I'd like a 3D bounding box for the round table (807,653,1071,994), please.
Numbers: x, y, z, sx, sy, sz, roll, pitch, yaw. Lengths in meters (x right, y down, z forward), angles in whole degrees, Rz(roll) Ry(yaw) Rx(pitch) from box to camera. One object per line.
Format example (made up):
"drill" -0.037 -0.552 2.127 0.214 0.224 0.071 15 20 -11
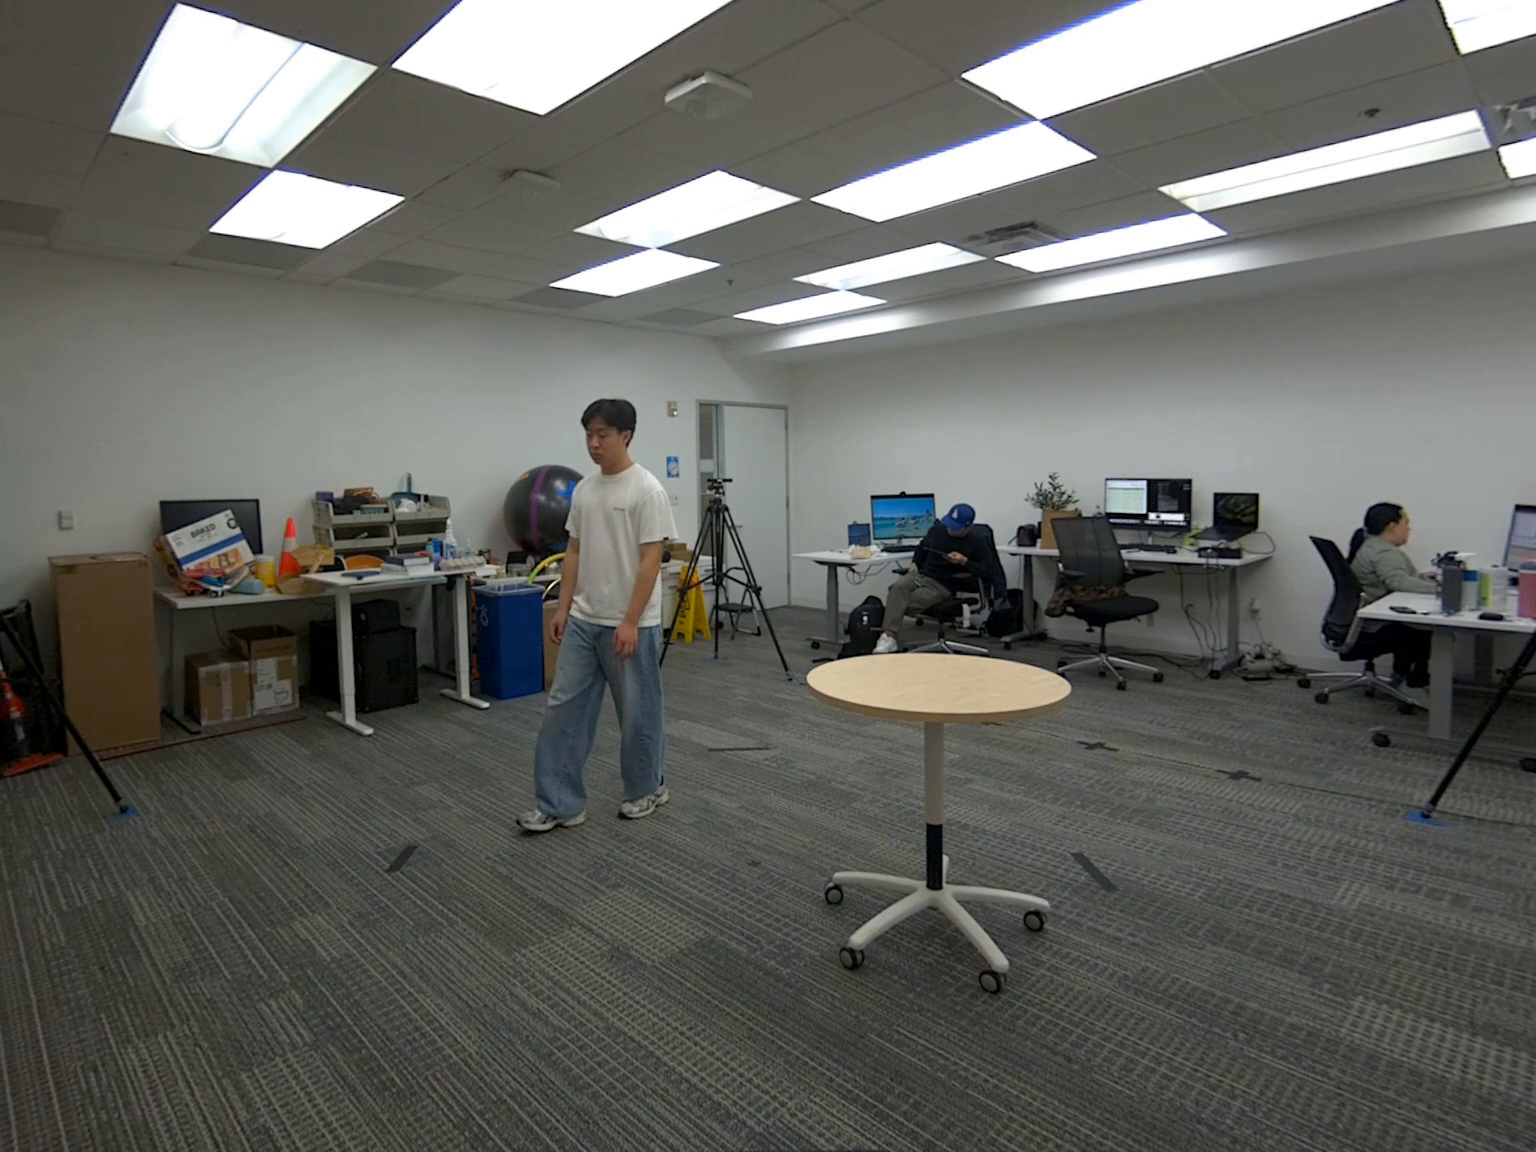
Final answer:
"round table" 0.511 0.705 2.603 0.763 0.791 0.768 -1 5 -2
